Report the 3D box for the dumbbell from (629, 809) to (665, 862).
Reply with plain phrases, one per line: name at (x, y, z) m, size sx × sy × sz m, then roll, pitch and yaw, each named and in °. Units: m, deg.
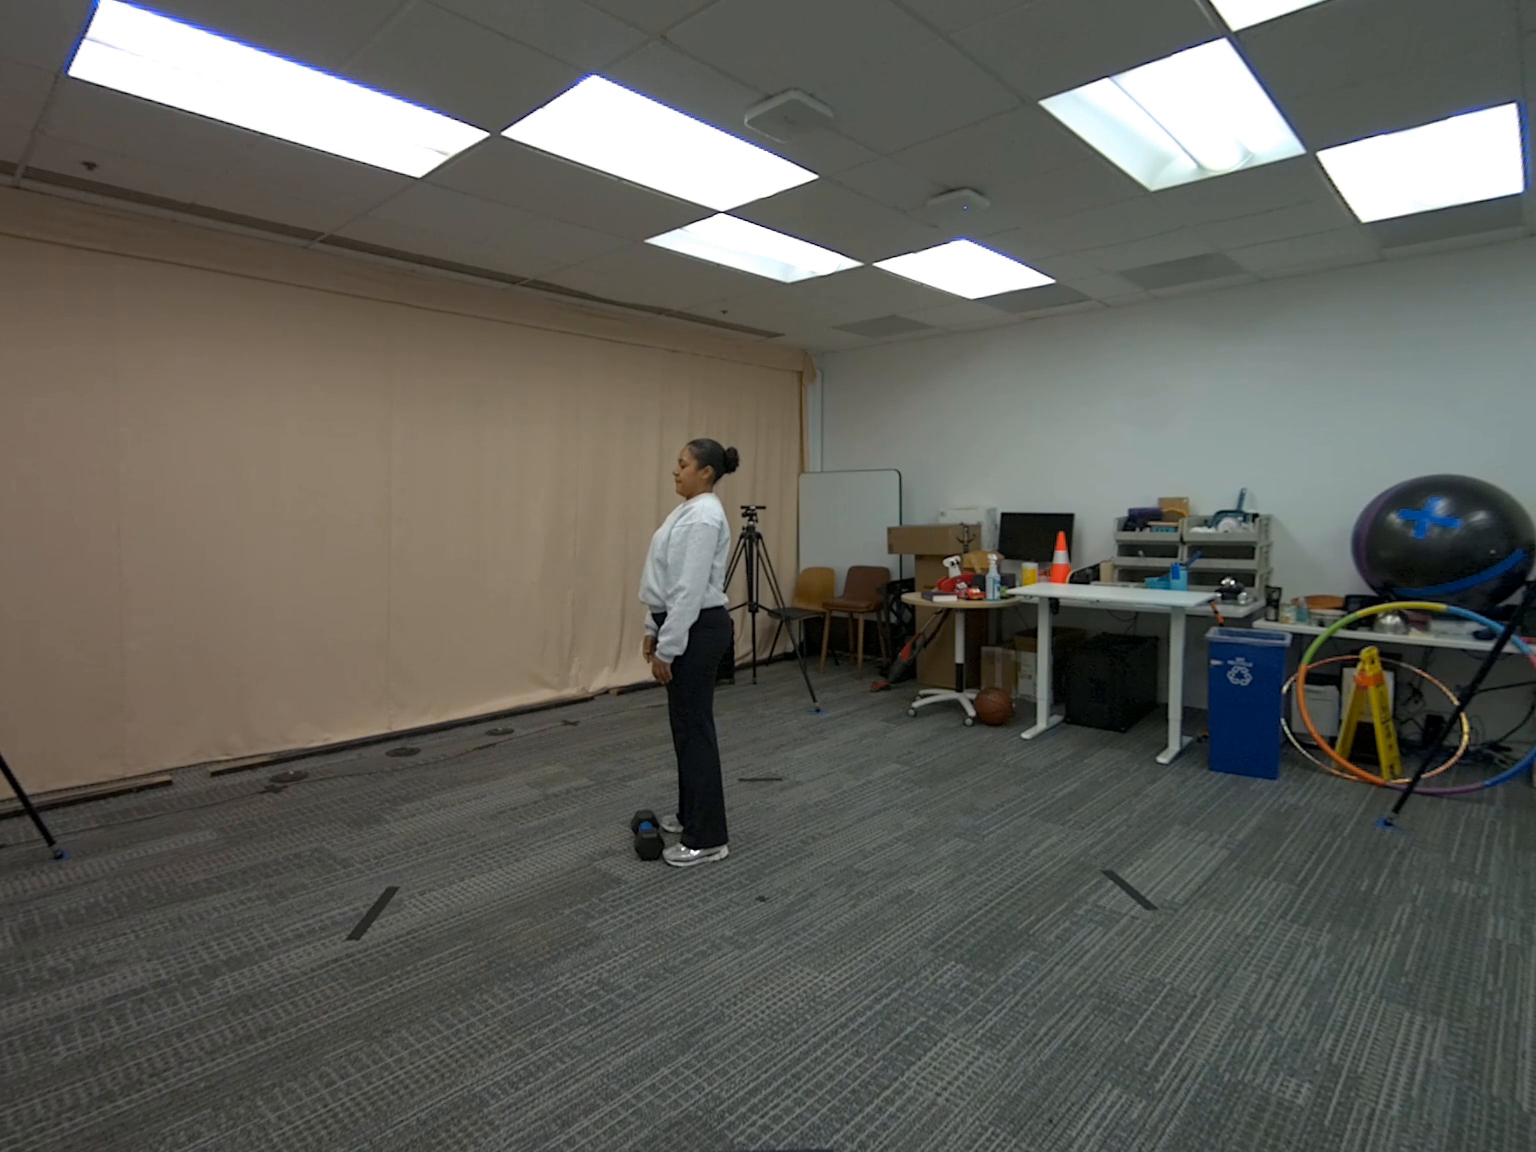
dumbbell at (-0.490, 1.061, 3.449) m, size 0.107 × 0.123 × 0.298 m, roll 30°, pitch -3°, yaw -13°
